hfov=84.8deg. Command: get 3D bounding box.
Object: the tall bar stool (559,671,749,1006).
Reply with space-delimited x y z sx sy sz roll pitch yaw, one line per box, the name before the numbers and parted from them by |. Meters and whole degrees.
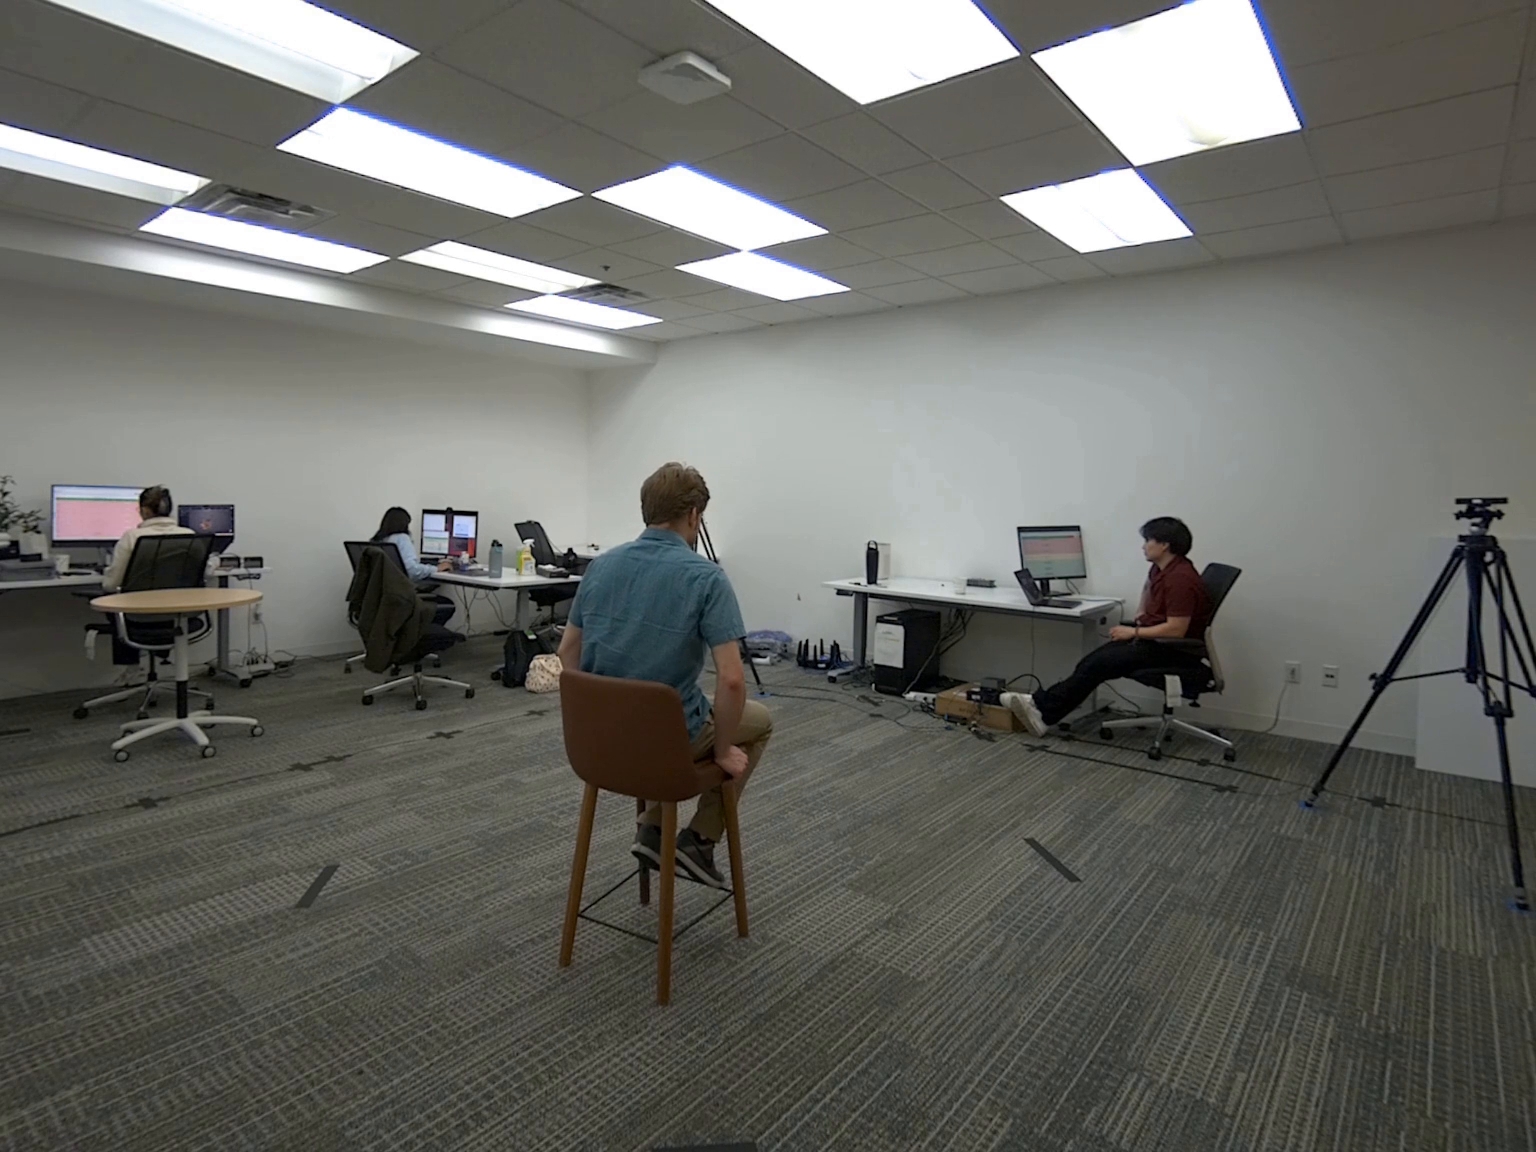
tall bar stool | -0.354 0.689 2.539 0.469 0.885 0.457 1 6 30
